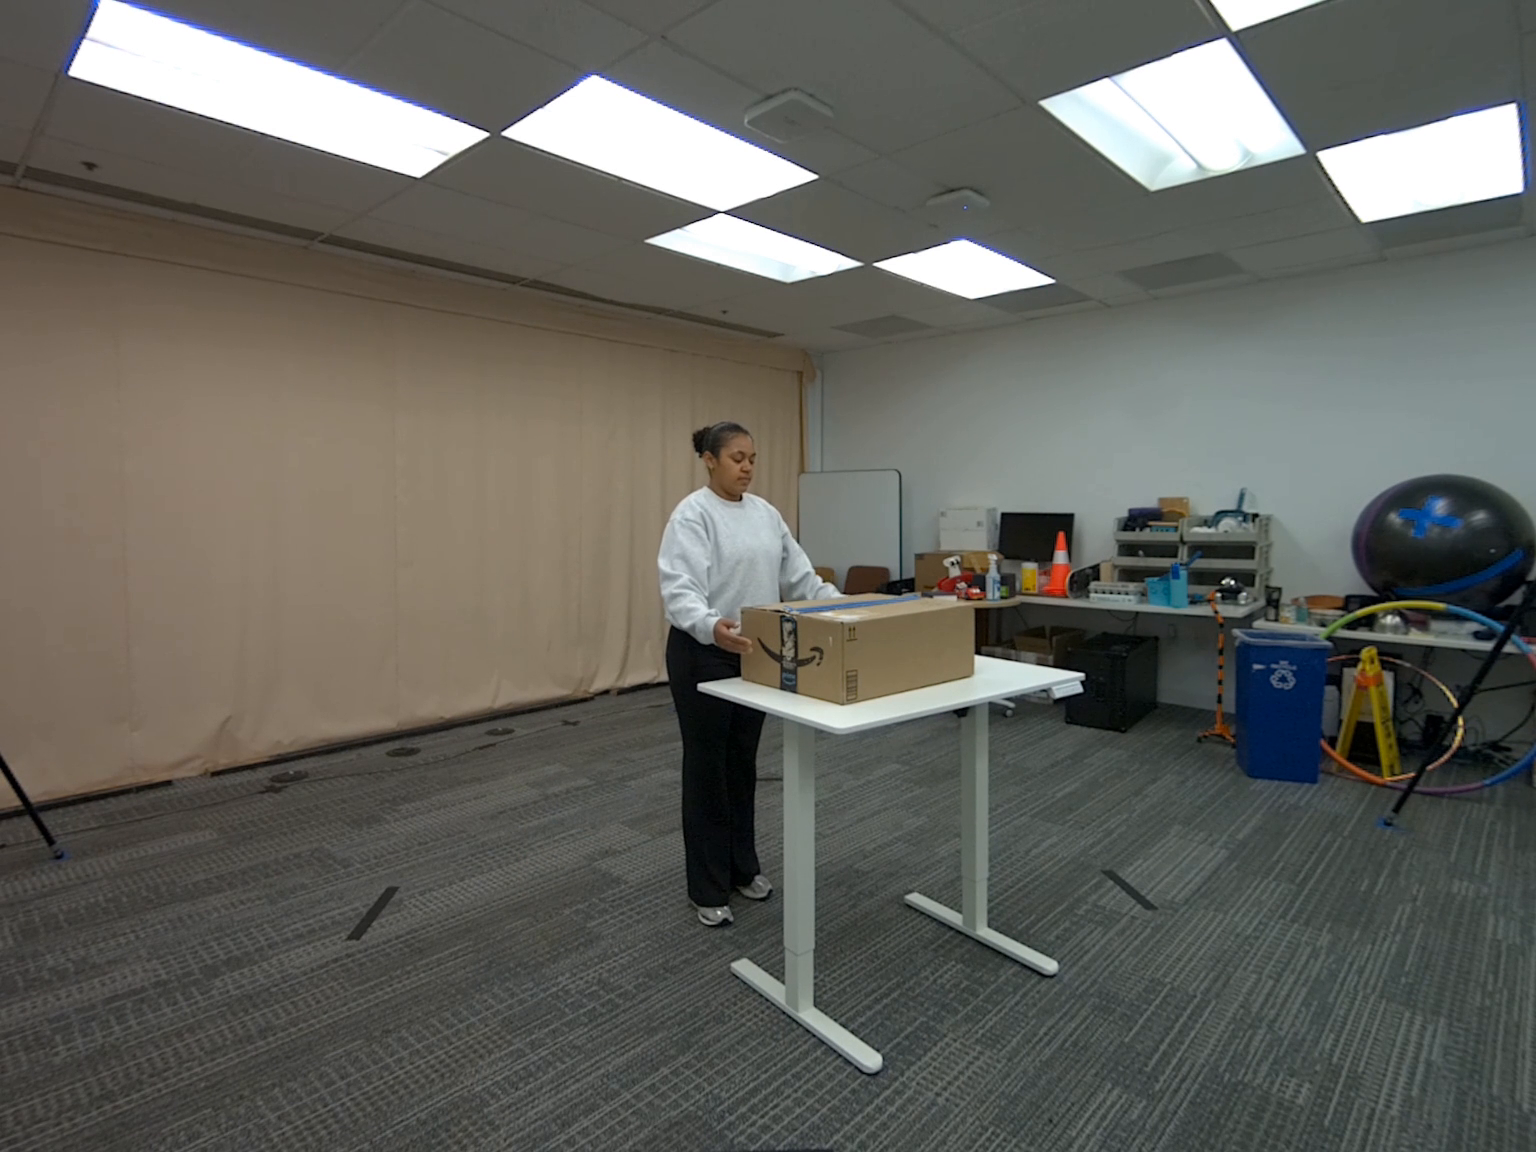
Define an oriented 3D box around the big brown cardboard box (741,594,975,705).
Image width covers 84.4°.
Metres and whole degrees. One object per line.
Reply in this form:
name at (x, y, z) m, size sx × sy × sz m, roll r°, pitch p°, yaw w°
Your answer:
big brown cardboard box at (0.262, 0.194, 2.480) m, size 0.571 × 0.233 × 0.431 m, roll -3°, pitch 5°, yaw -40°
